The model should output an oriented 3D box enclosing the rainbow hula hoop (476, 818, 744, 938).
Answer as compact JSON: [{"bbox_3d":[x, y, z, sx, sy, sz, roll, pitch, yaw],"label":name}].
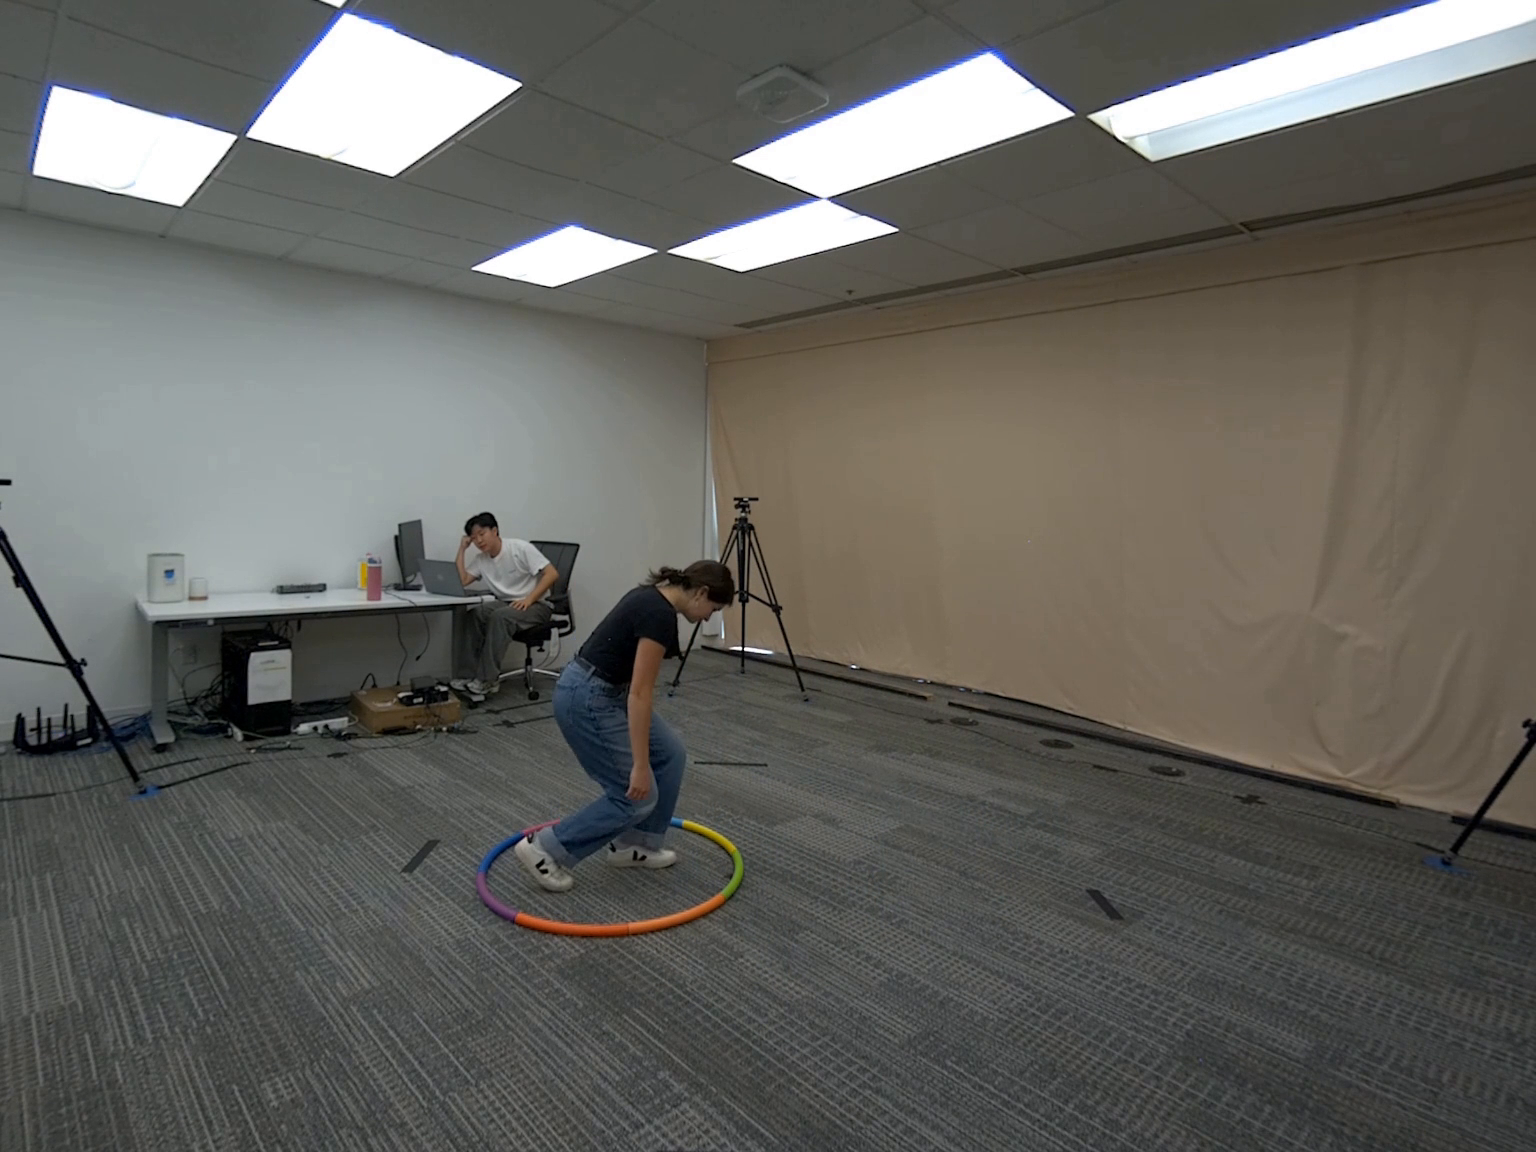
[{"bbox_3d":[-0.581,1.067,3.133,0.978,0.035,0.982,1,5,-1],"label":"rainbow hula hoop"}]
